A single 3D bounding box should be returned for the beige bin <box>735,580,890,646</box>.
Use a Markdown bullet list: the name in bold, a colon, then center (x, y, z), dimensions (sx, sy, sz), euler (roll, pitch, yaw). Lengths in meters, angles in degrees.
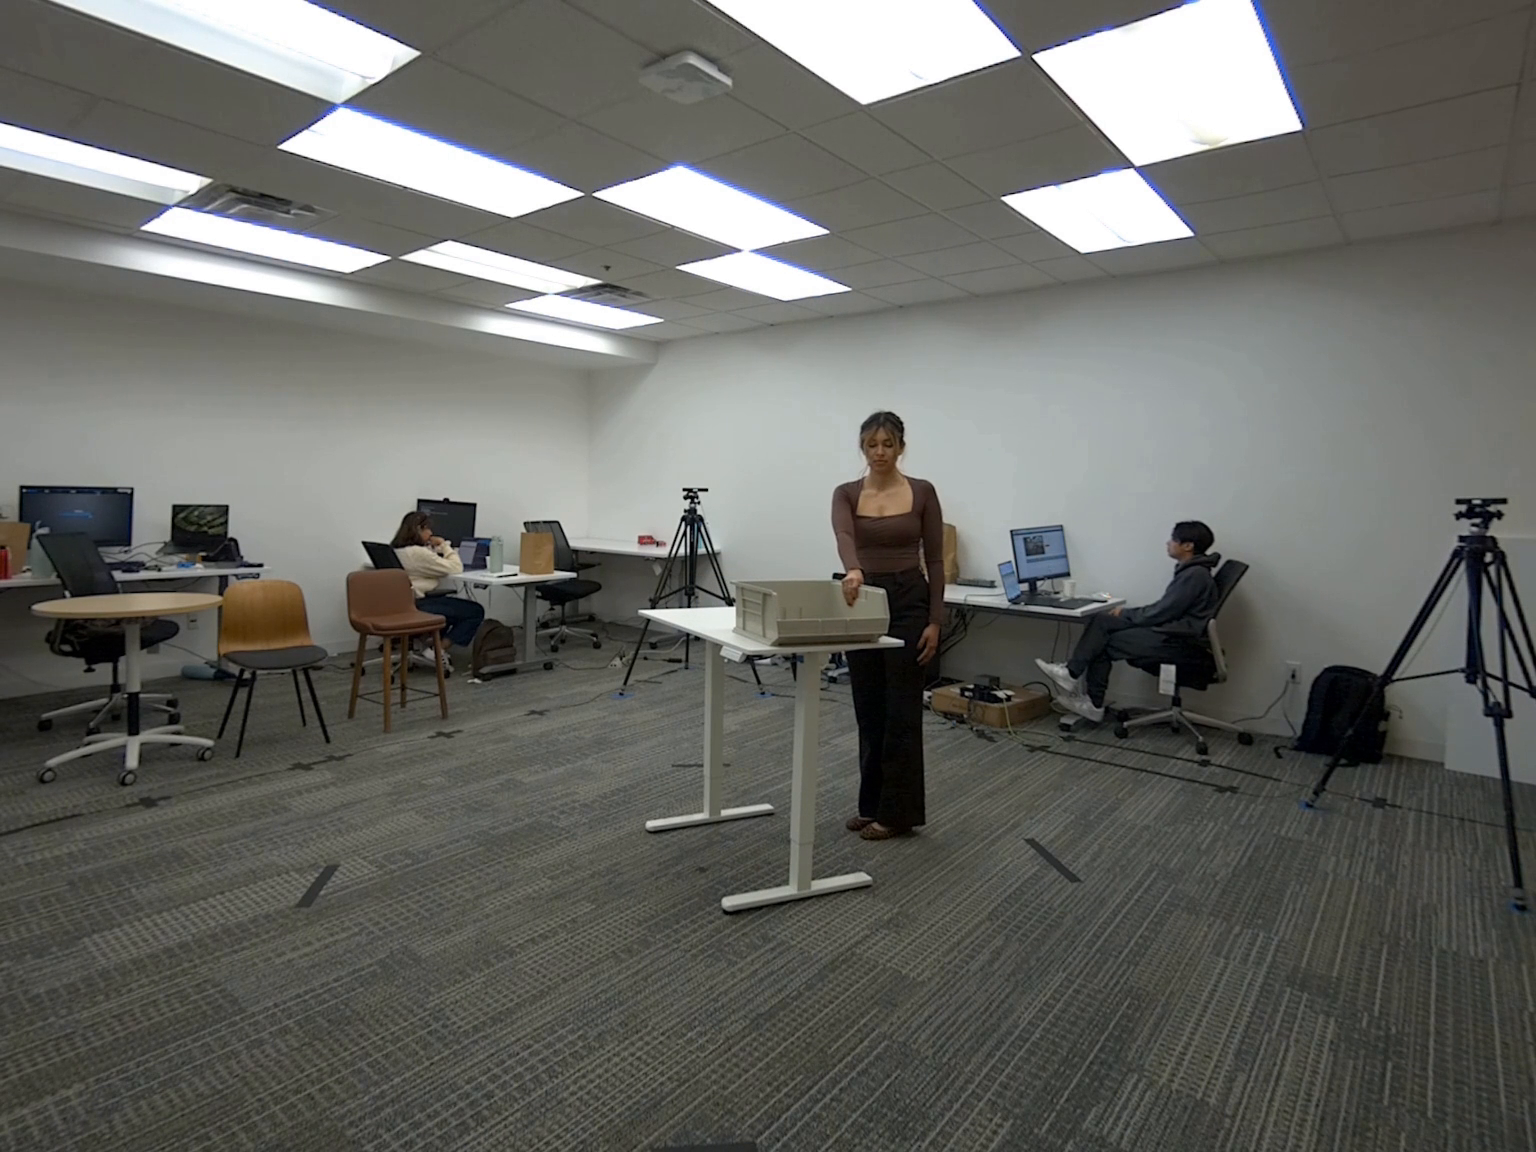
- **beige bin**: center (0.131, 0.121, 2.907), dimensions (0.413, 0.188, 0.387), euler (-1, 4, -24)
